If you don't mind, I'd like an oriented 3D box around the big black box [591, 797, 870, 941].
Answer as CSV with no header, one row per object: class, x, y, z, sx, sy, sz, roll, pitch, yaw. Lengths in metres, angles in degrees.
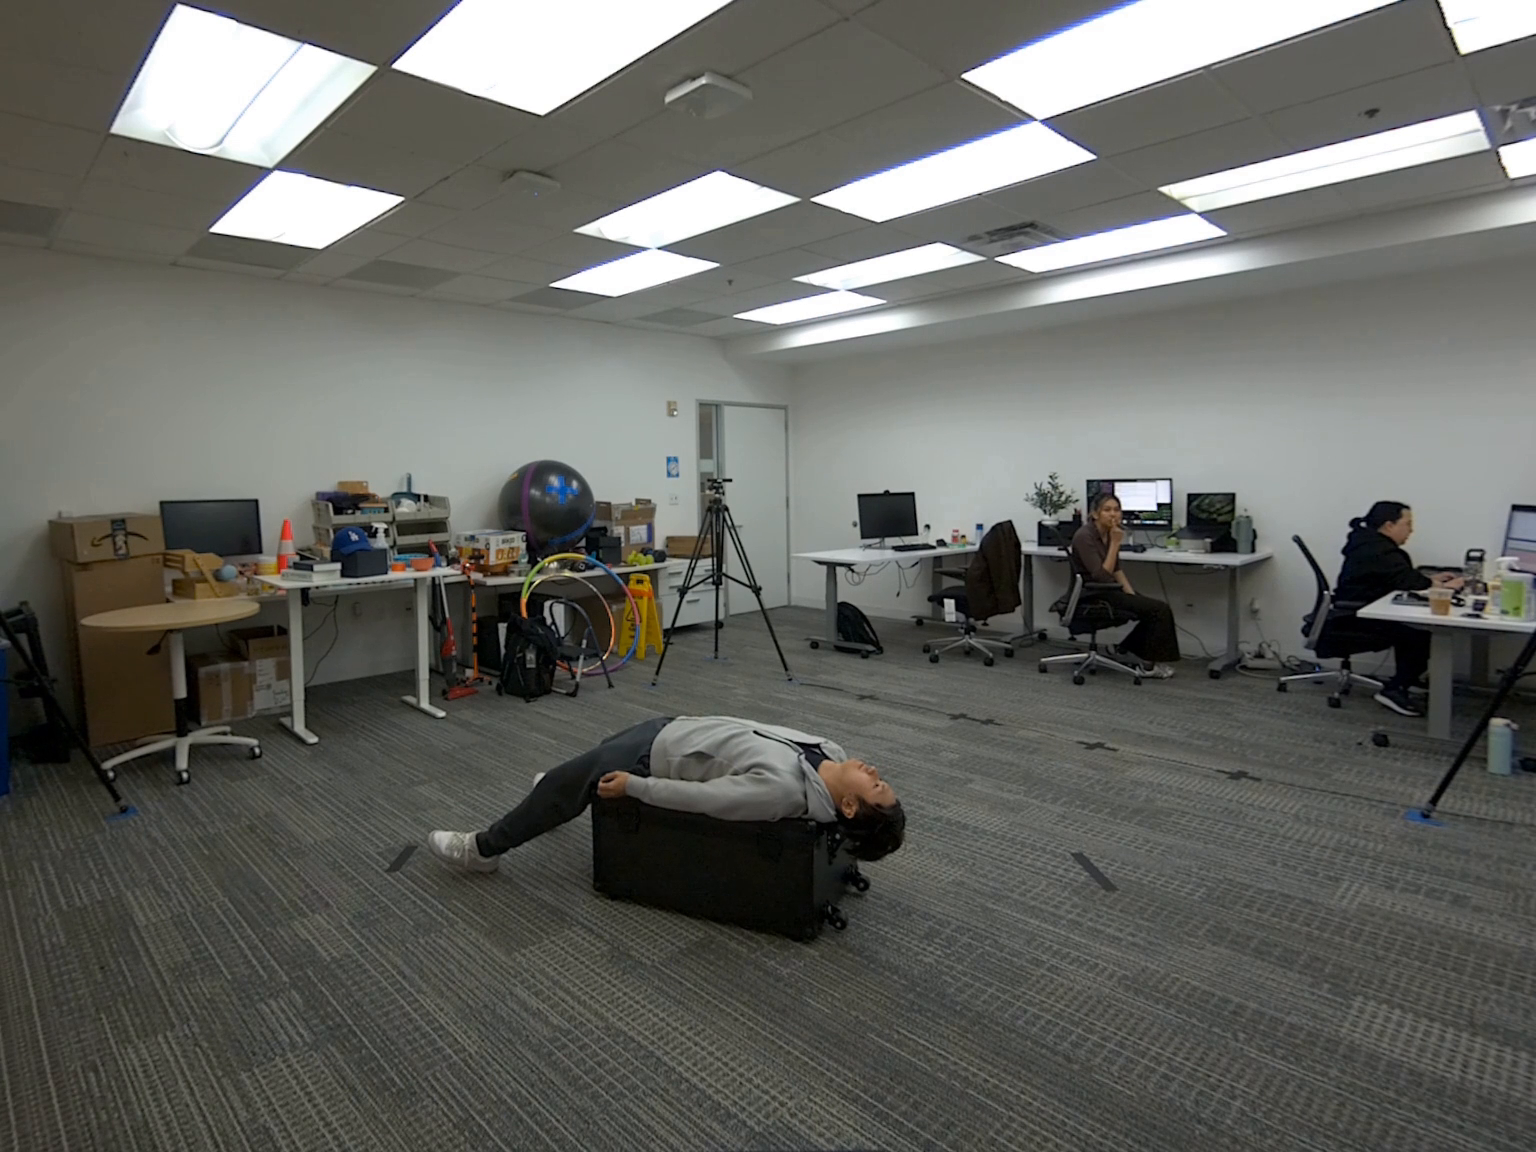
big black box,-0.163,0.879,2.933,0.881,0.395,0.512,2,6,24
